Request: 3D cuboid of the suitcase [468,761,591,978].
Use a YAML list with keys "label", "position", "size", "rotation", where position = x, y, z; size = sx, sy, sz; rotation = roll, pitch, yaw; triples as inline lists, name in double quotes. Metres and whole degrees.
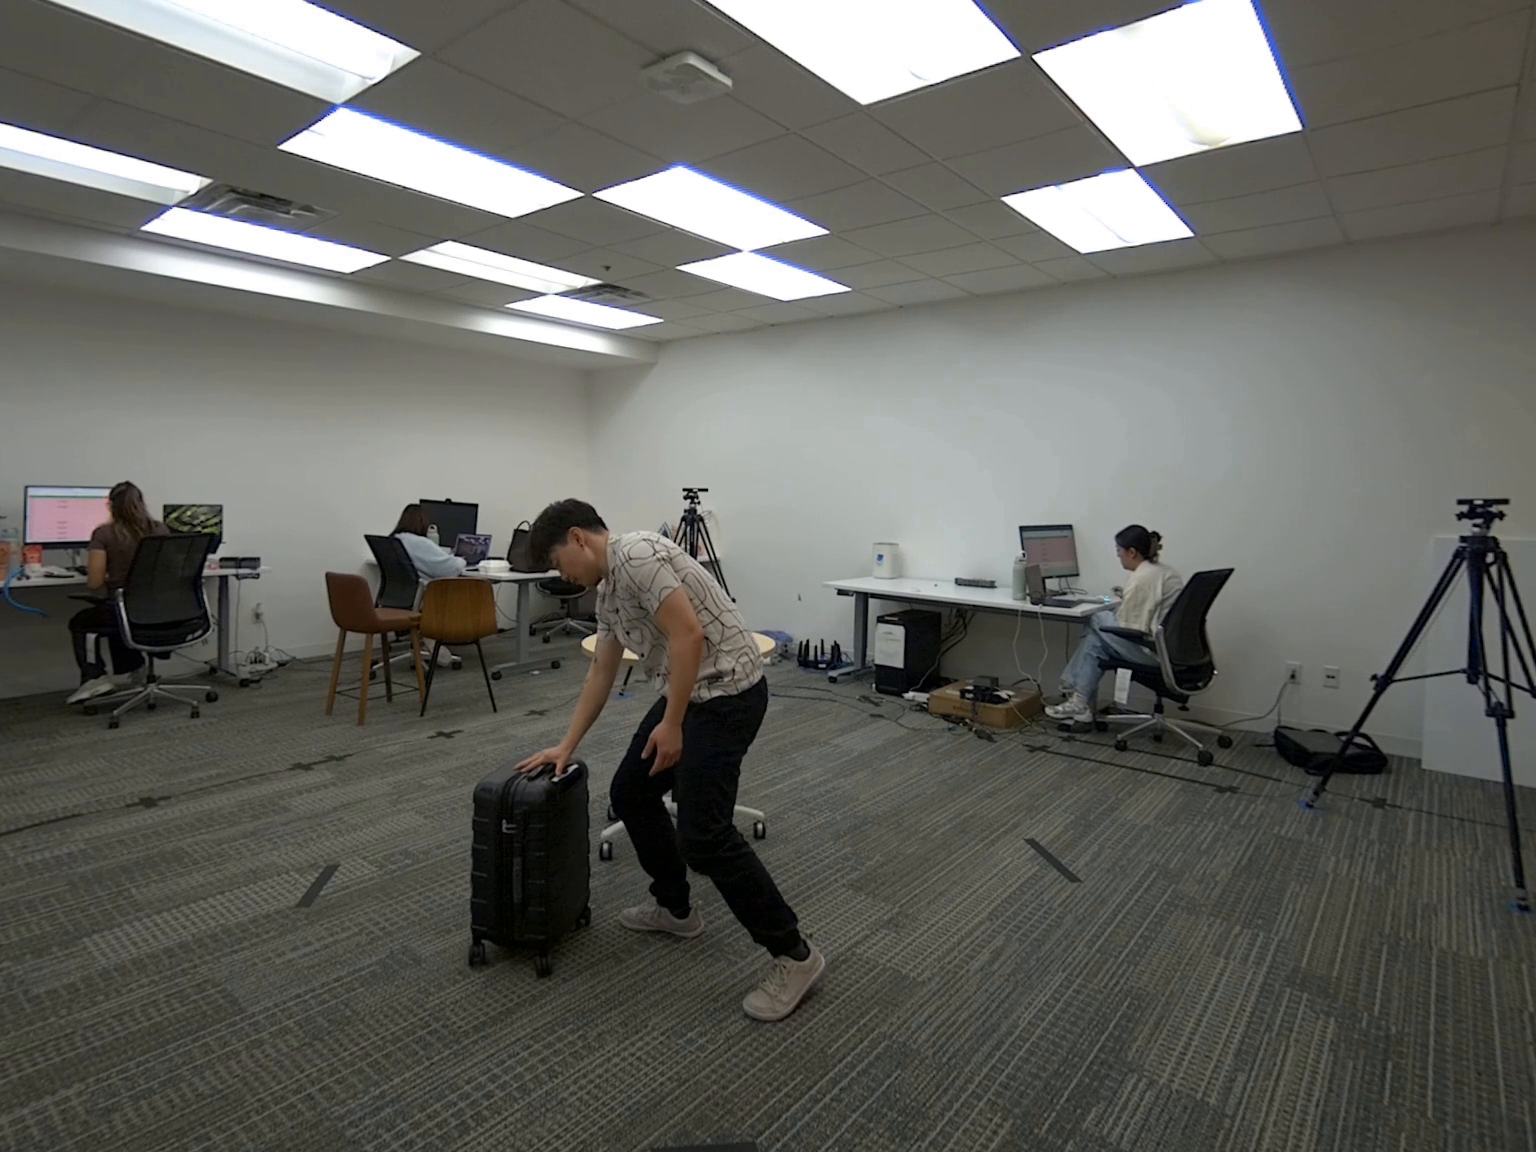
- label: "suitcase"
  position: [-0.728, 0.842, 2.589]
  size: [0.252, 0.548, 0.371]
  rotation: [0, 3, 13]
